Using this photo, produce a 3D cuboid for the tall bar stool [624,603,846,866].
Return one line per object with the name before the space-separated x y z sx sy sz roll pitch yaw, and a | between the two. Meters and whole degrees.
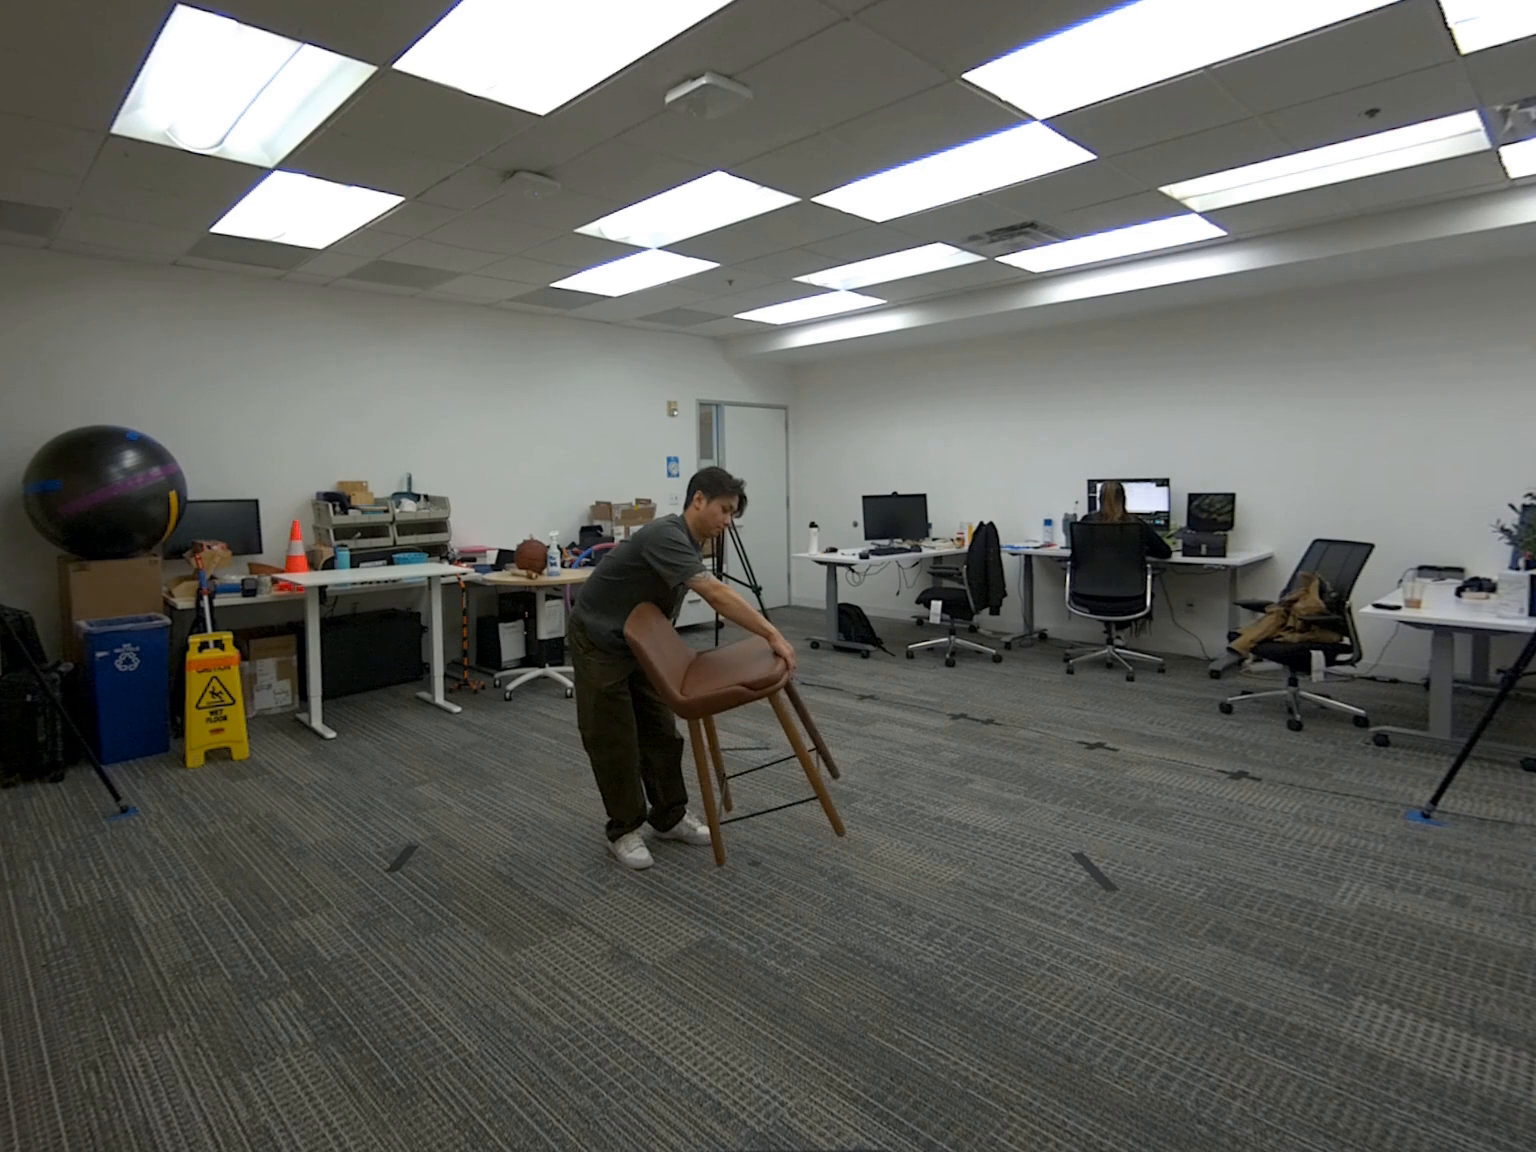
tall bar stool | -0.099 0.478 2.931 0.469 0.877 0.461 -19 12 6
